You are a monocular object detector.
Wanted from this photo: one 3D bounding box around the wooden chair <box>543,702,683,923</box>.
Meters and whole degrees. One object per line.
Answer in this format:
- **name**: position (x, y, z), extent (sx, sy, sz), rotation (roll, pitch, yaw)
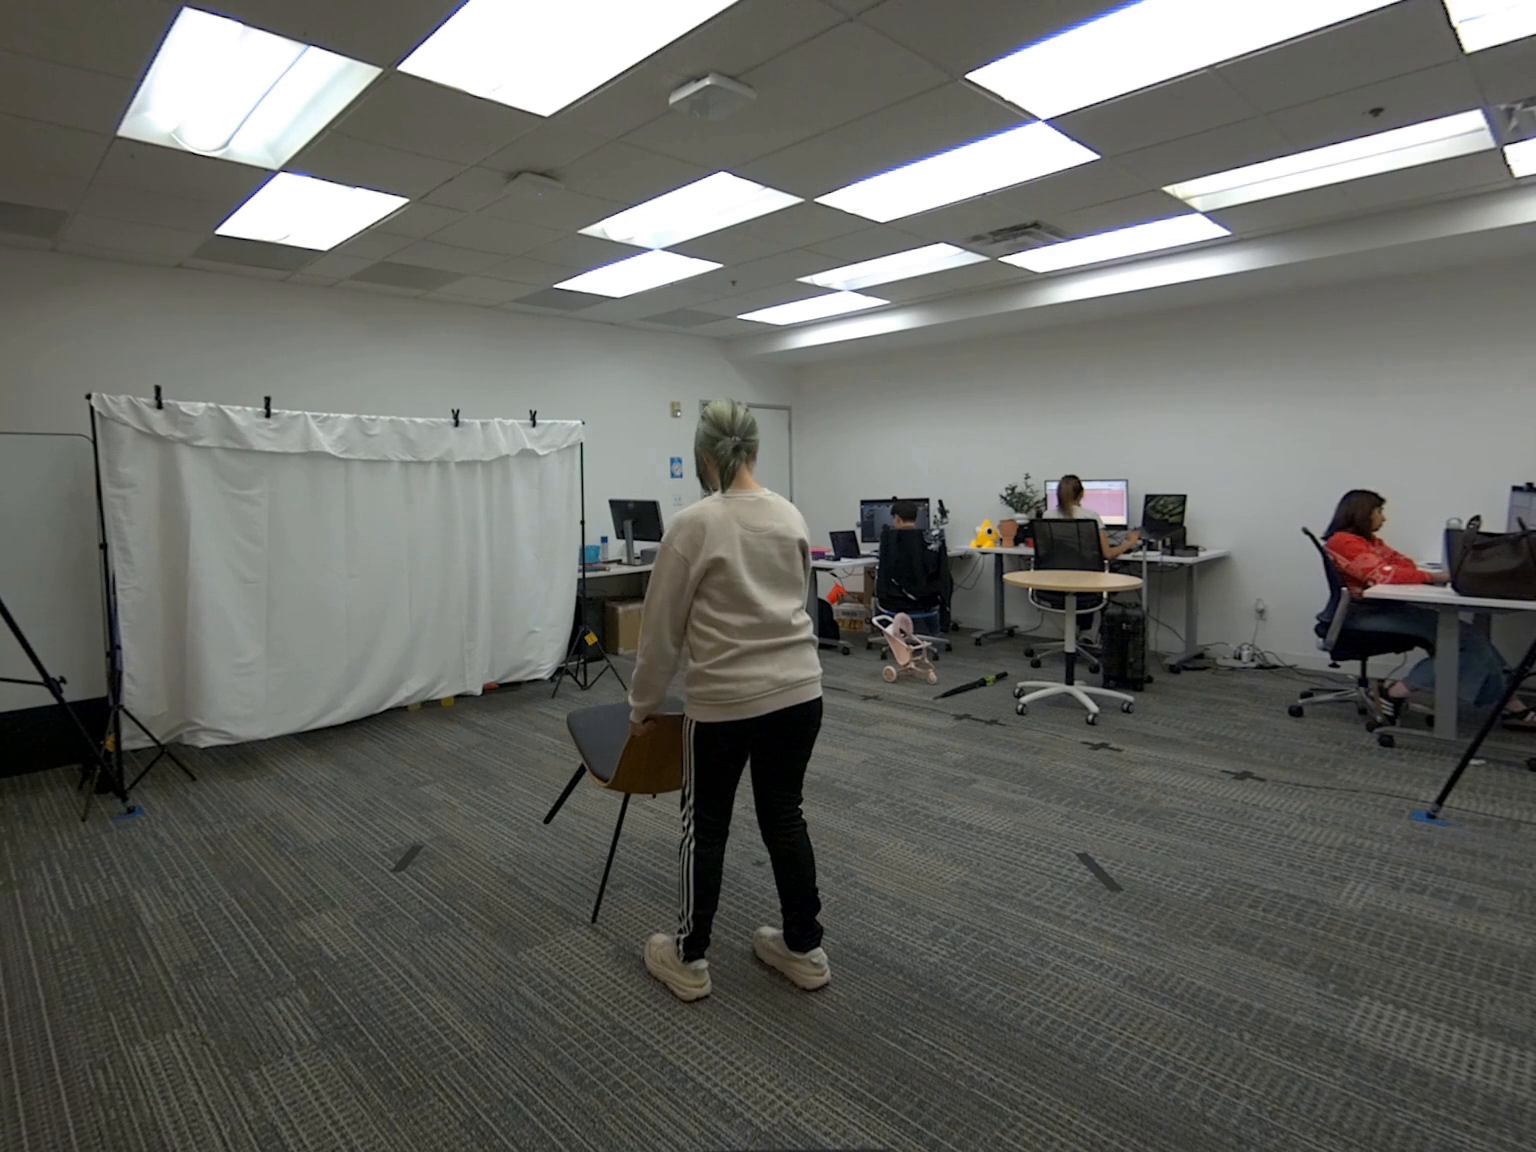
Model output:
- **wooden chair**: position (-0.396, 0.599, 2.819), extent (0.466, 0.864, 0.544), rotation (-4, 35, -34)
